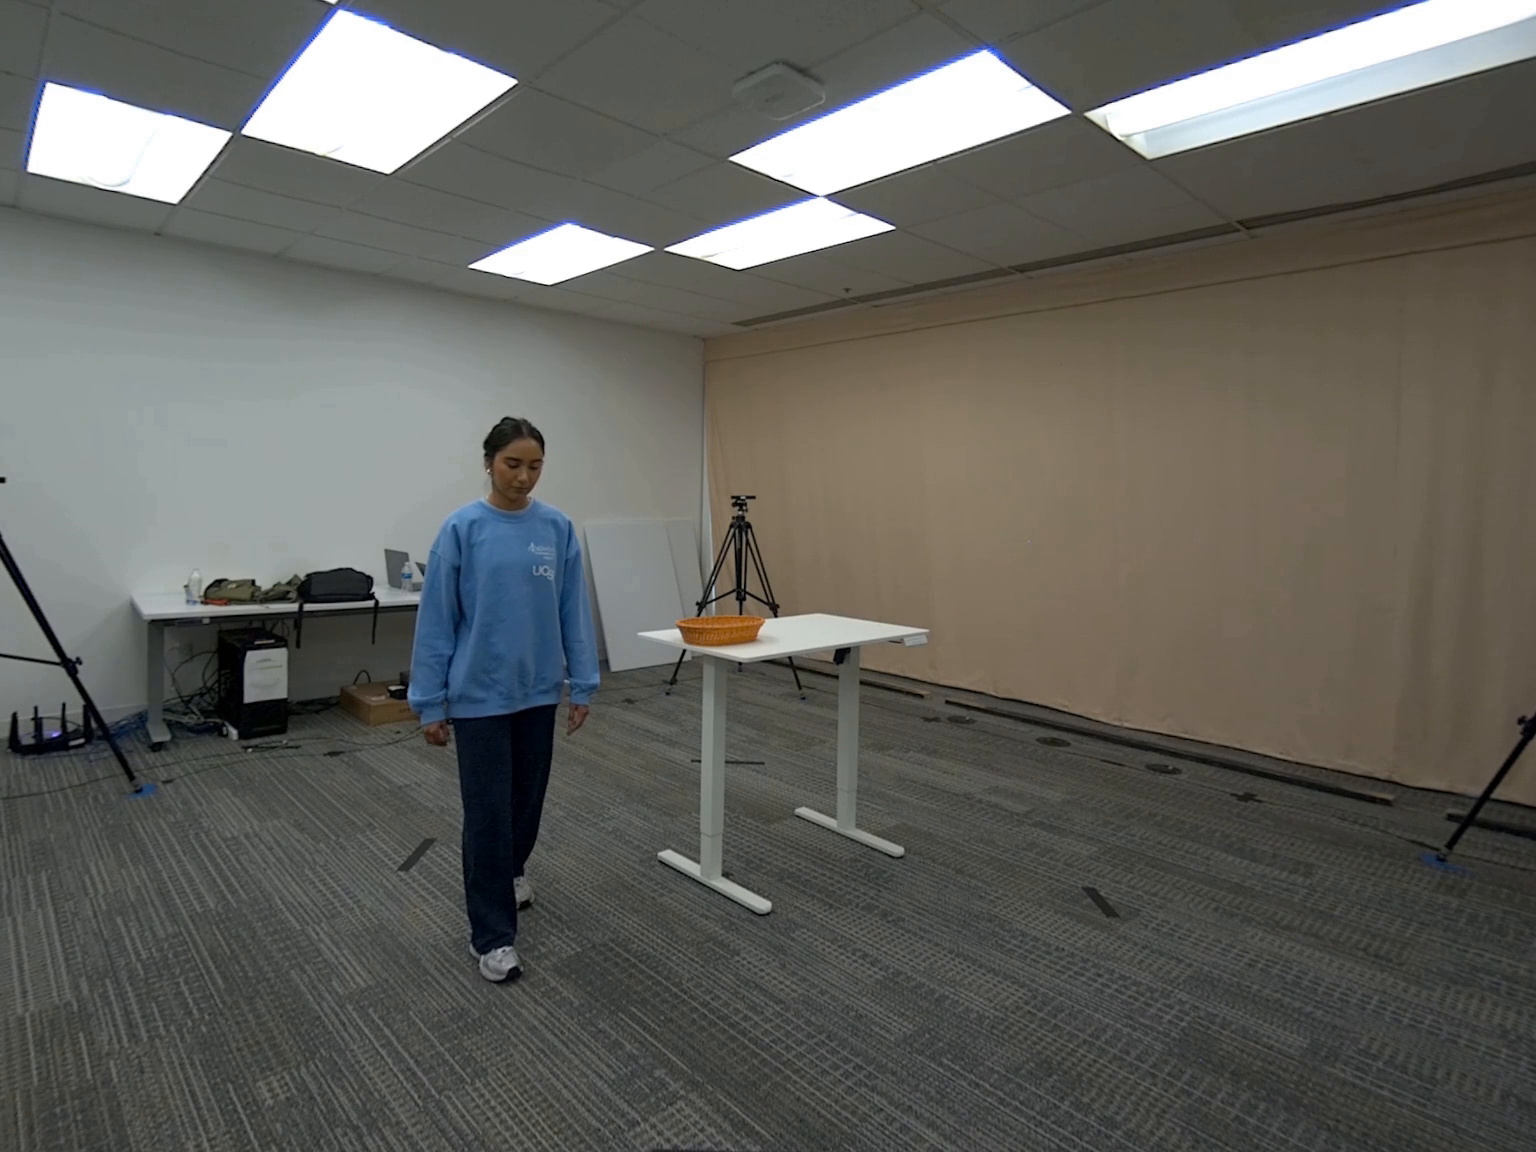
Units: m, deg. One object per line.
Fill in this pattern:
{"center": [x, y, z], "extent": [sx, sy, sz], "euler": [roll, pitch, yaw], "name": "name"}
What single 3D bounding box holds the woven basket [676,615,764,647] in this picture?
{"center": [-0.173, 0.202, 2.988], "extent": [0.343, 0.073, 0.258], "euler": [-4, 6, -40], "name": "woven basket"}
